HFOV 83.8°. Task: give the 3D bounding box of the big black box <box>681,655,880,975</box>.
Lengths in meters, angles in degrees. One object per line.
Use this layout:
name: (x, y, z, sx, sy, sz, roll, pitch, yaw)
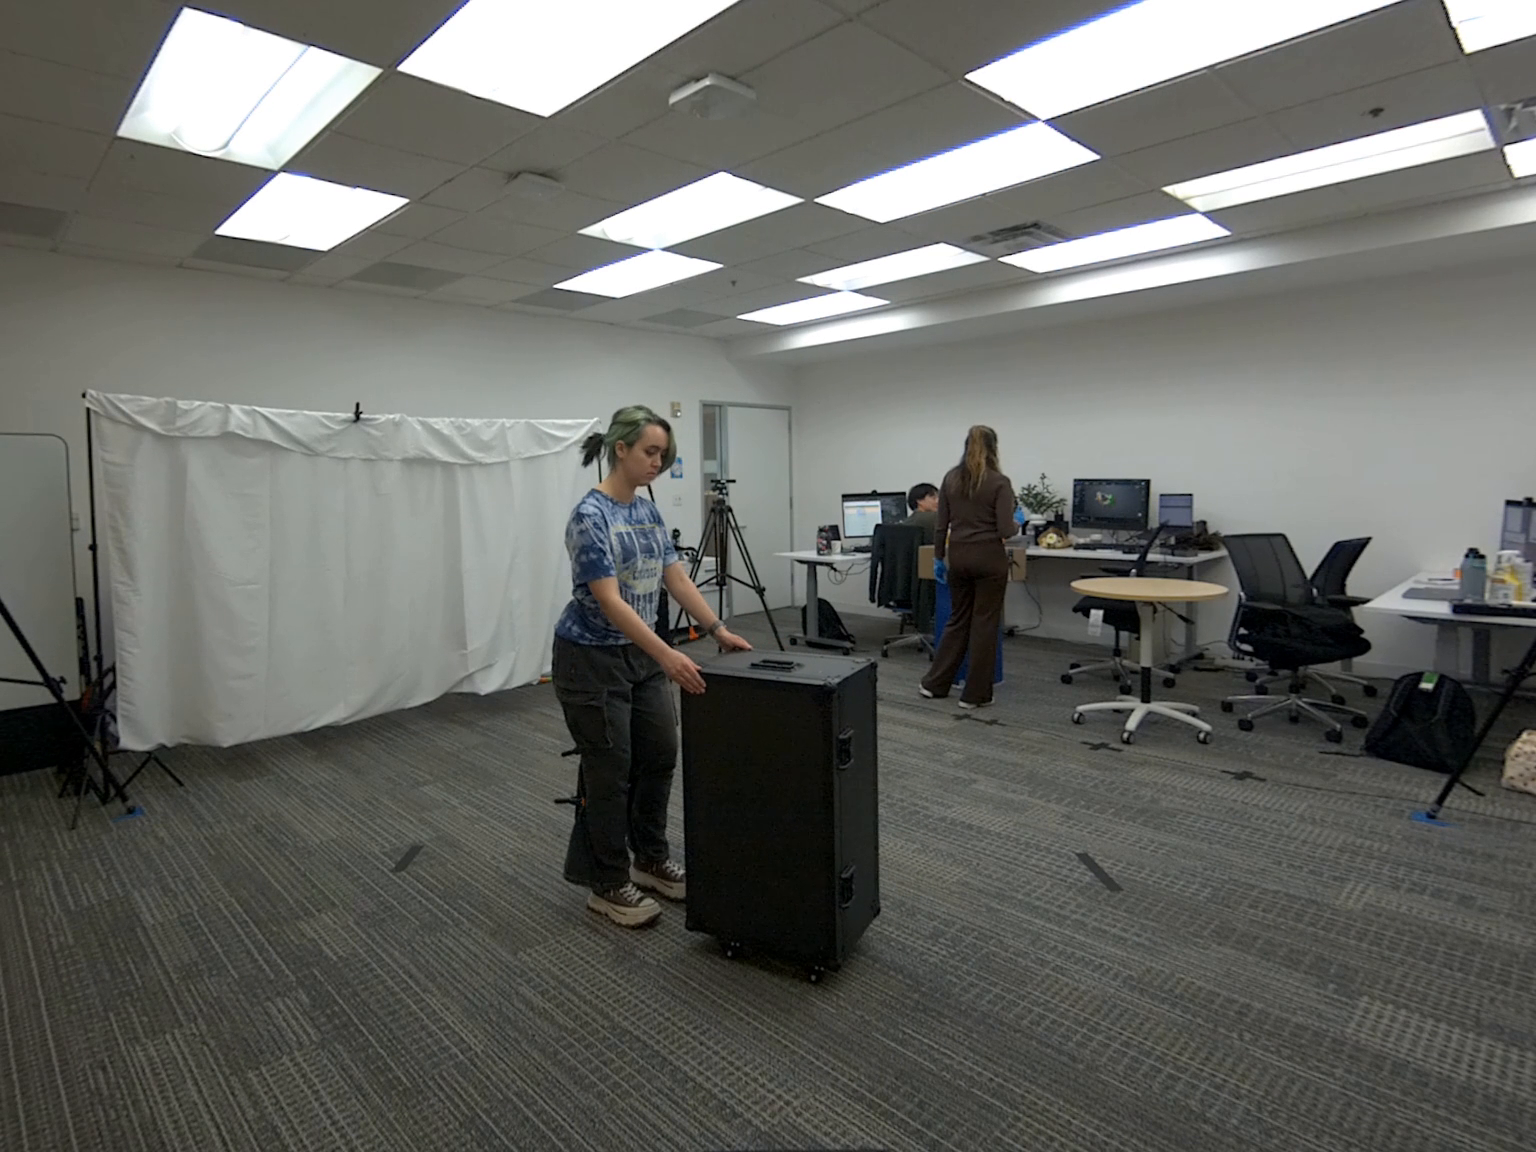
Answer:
big black box: (0.045, 0.690, 2.553, 0.534, 0.859, 0.387, 0, 4, 29)
